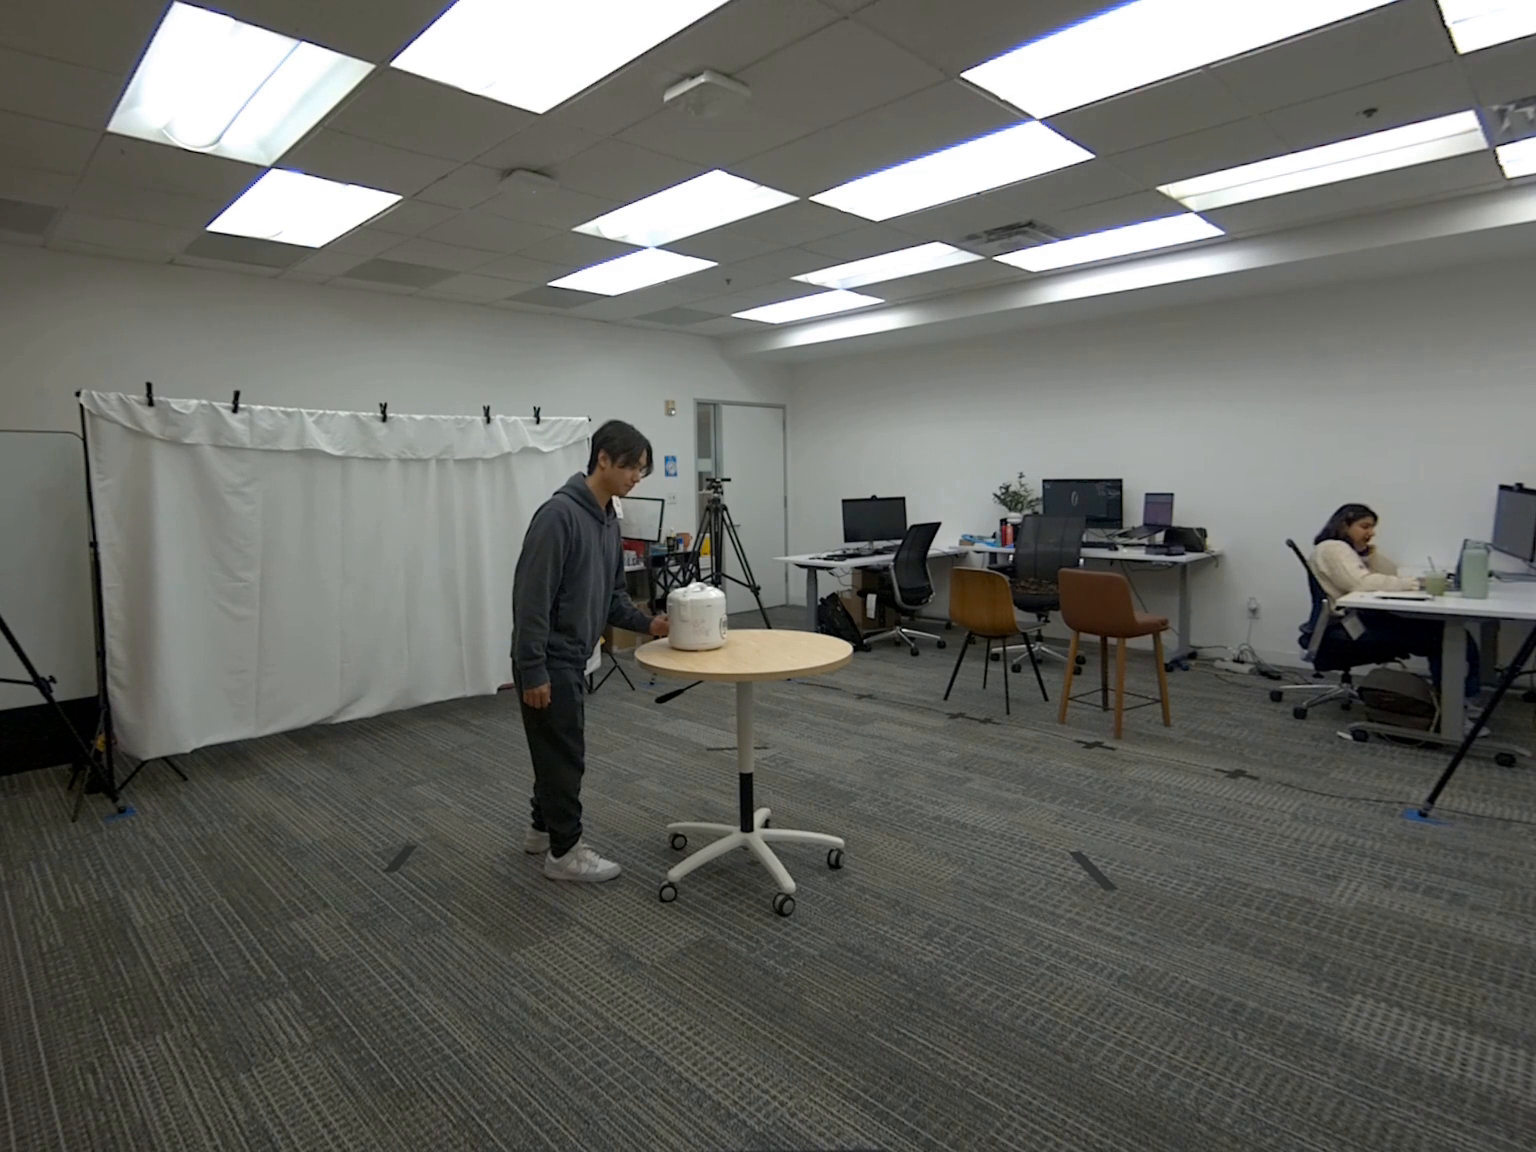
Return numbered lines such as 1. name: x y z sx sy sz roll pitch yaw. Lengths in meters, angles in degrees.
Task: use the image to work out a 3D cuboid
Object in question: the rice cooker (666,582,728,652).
1. rice cooker: -0.252 0.138 3.058 0.222 0.232 0.217 -1 5 23
